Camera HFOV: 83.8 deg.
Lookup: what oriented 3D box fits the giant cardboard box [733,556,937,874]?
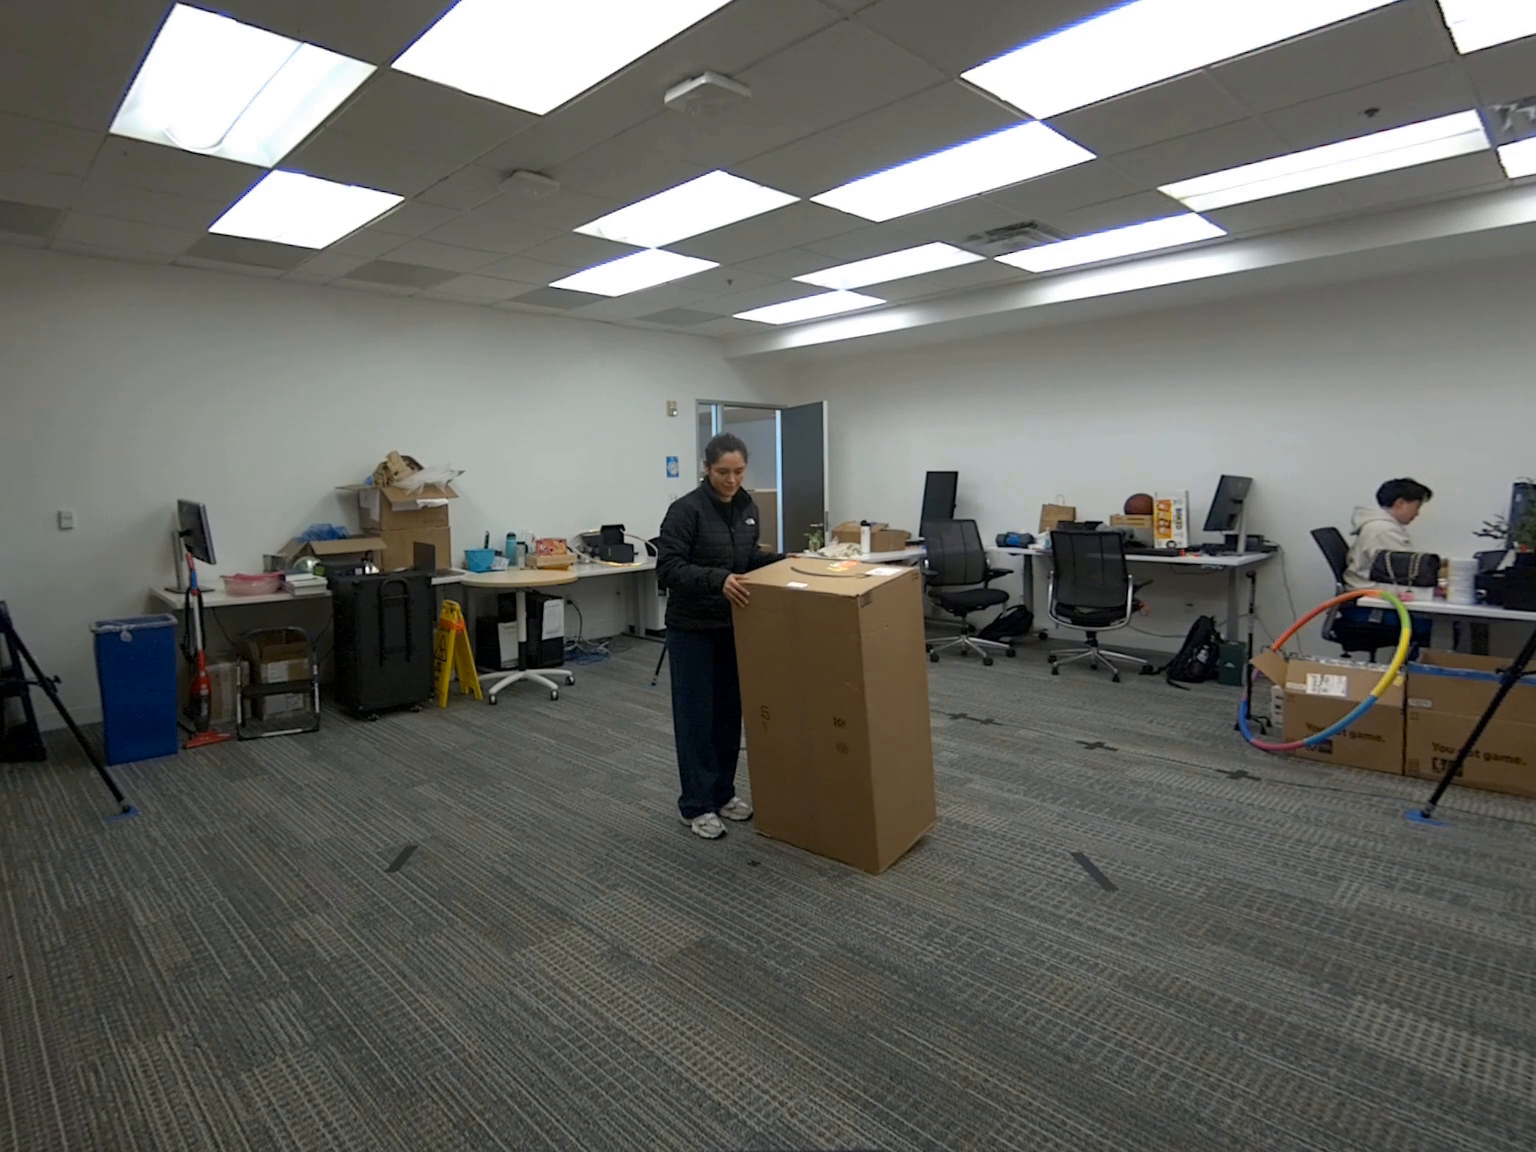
[{"bbox_3d":[0.250,0.489,3.256,0.595,1.015,0.418,4,14,40],"label":"giant cardboard box"}]
